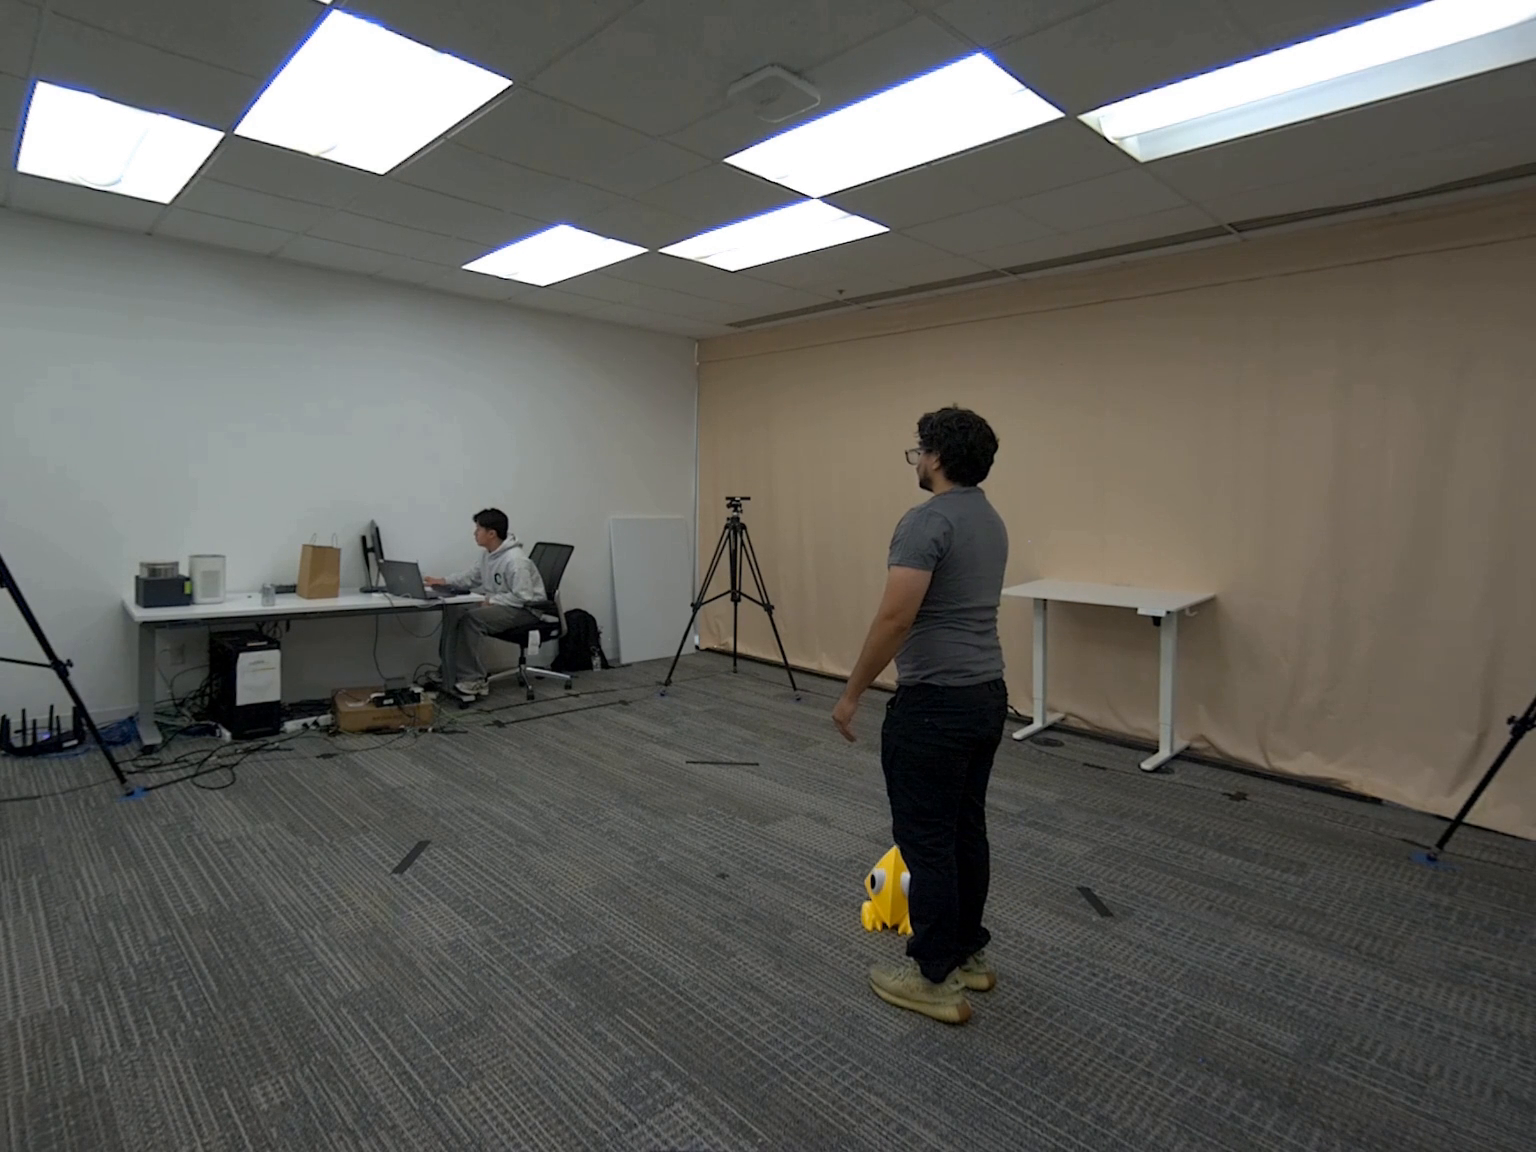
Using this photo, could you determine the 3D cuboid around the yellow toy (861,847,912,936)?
[{"bbox_3d":[0.409,1.035,2.786,0.207,0.230,0.191,3,5,13],"label":"yellow toy"}]
